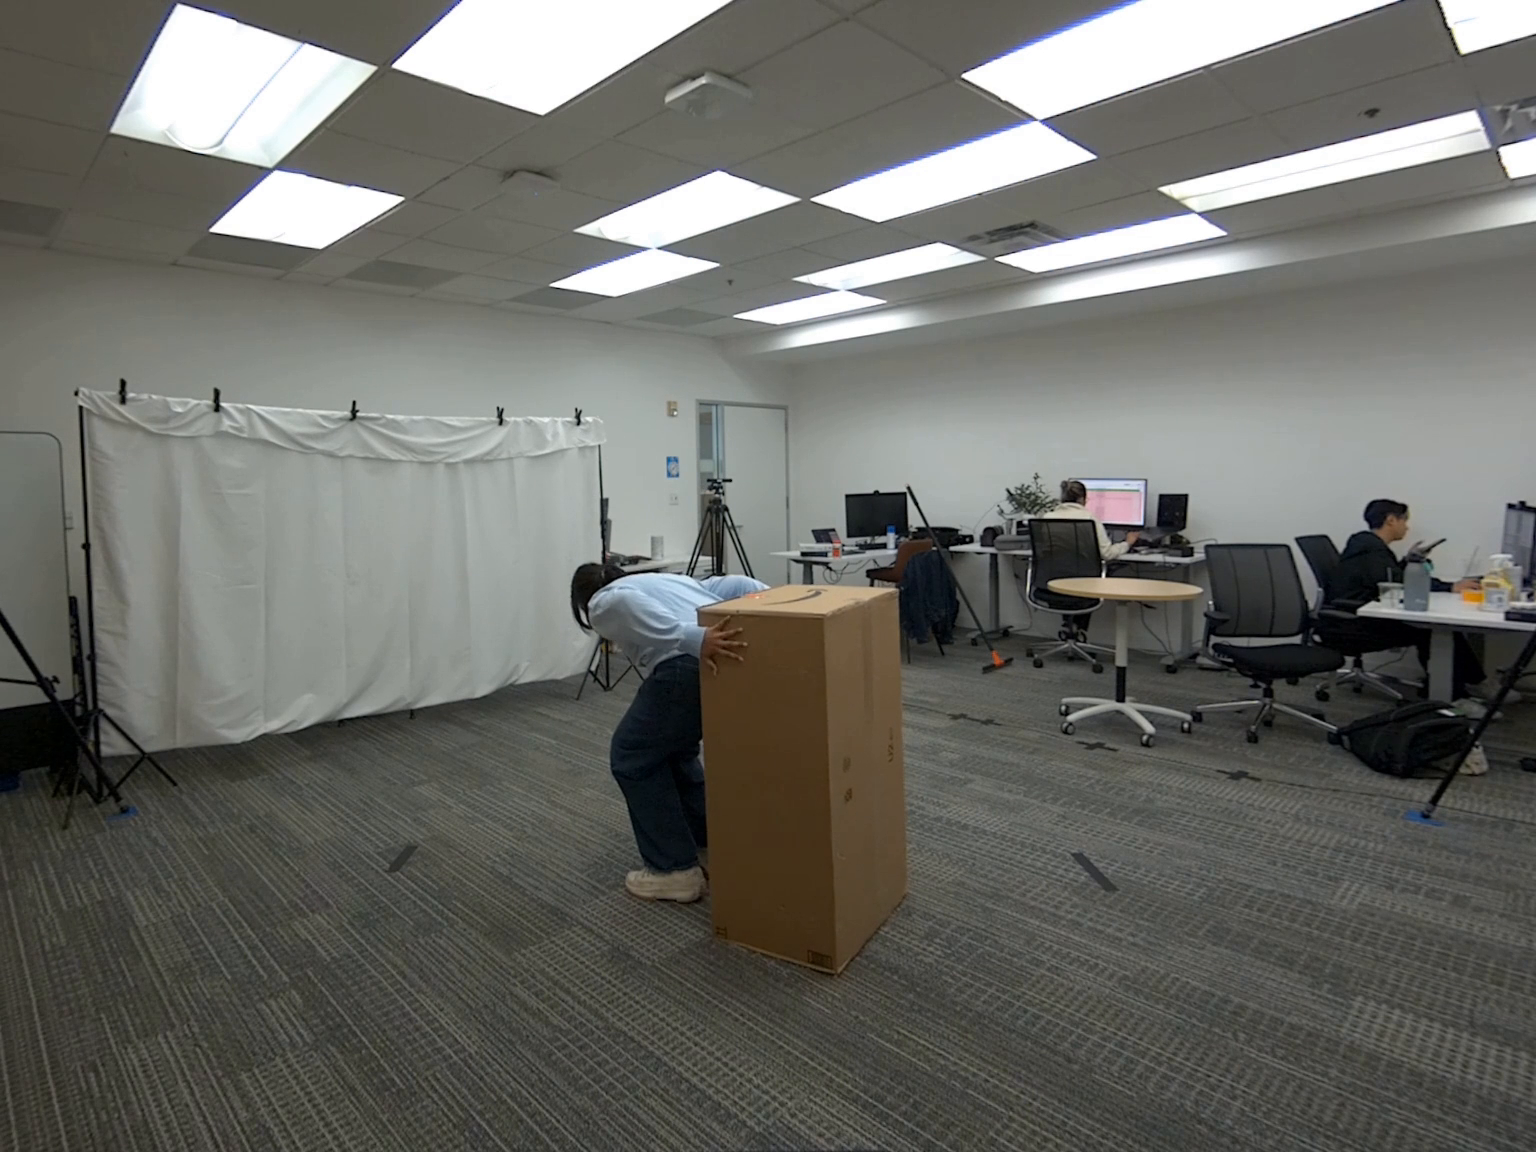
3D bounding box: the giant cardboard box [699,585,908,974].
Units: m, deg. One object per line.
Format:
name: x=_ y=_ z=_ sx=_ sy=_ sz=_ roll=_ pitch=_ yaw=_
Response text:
giant cardboard box: x=0.131 y=0.580 z=2.700 sx=0.437 sy=1.022 sz=0.565 roll=0 pitch=5 yaw=31
